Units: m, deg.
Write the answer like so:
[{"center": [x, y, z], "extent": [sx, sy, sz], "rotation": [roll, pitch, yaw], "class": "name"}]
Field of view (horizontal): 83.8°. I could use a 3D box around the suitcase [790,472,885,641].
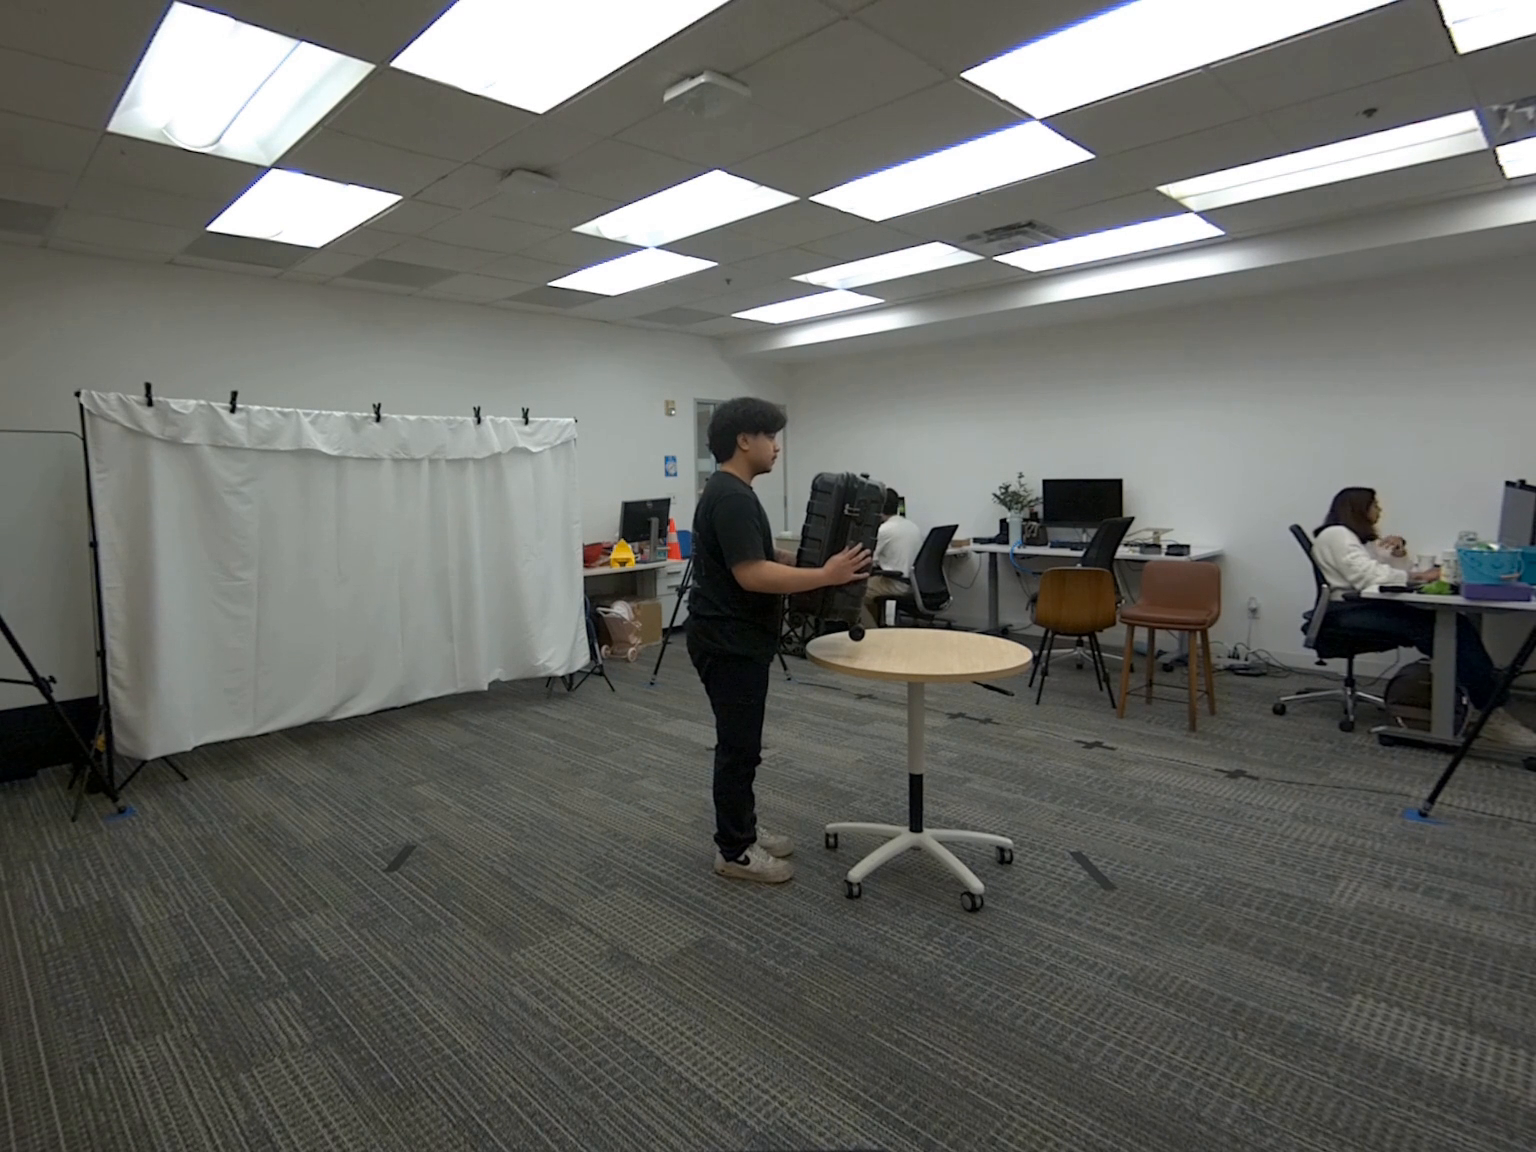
[{"center": [0.239, -0.092, 2.994], "extent": [0.250, 0.548, 0.373], "rotation": [10, 4, 6], "class": "suitcase"}]
